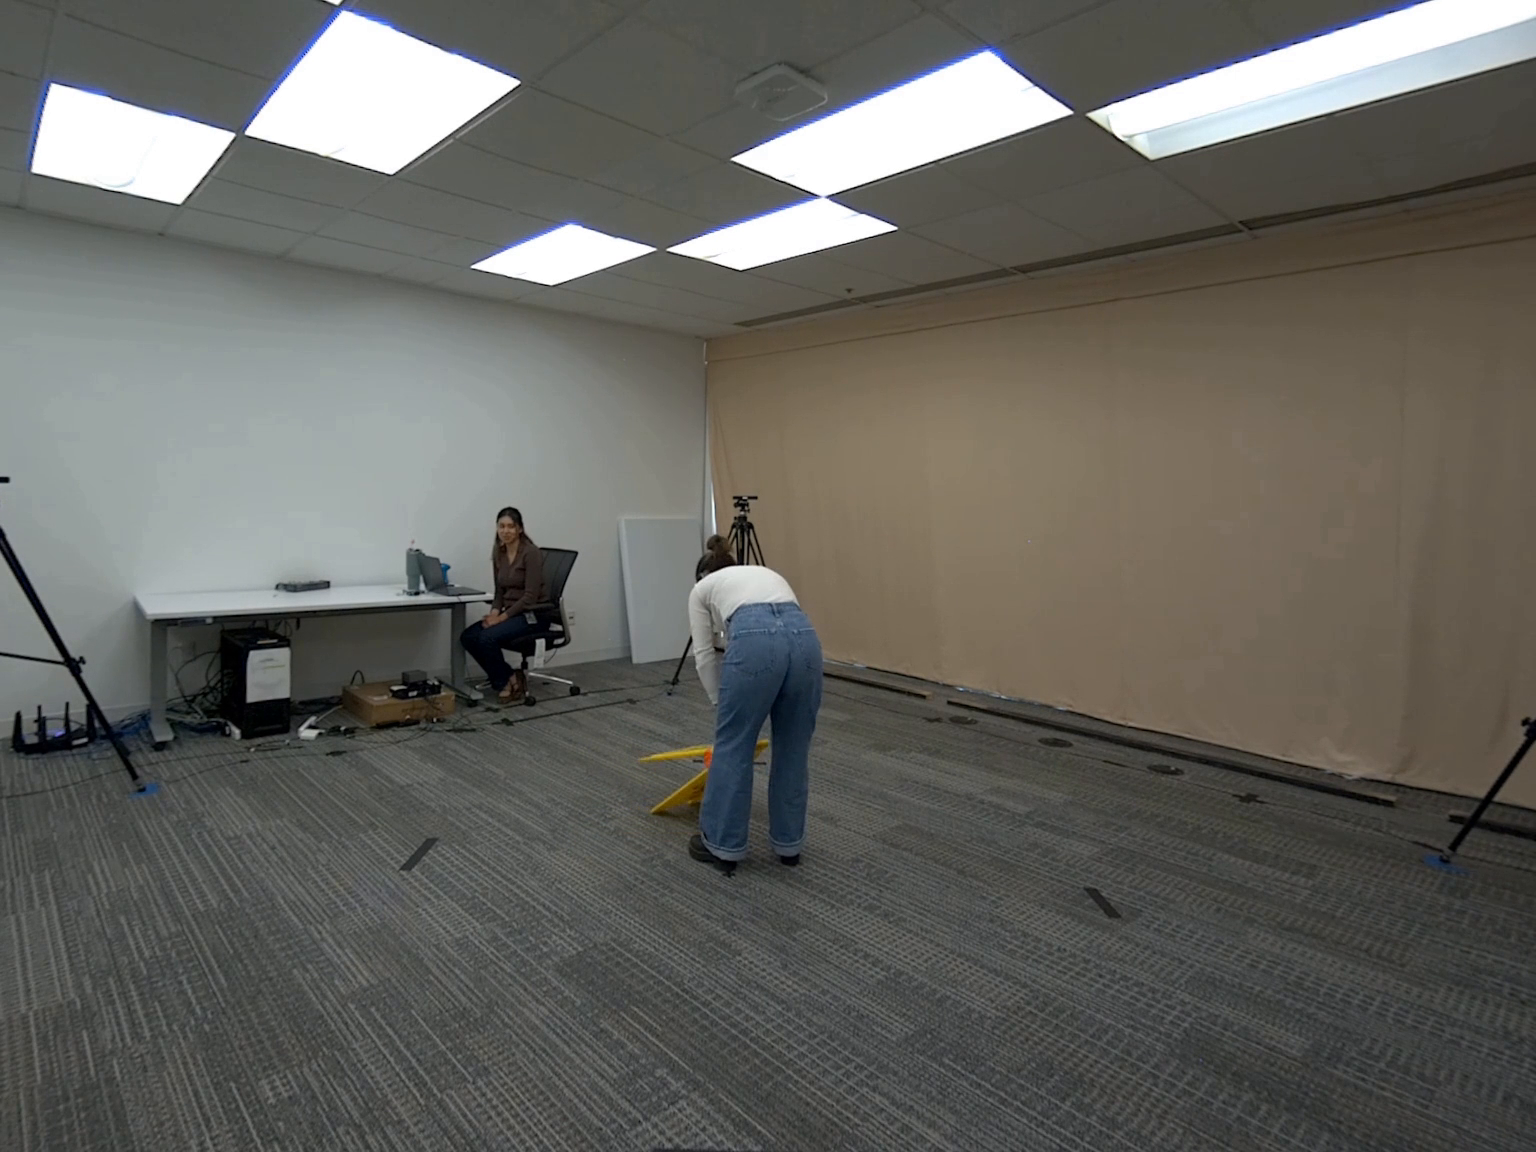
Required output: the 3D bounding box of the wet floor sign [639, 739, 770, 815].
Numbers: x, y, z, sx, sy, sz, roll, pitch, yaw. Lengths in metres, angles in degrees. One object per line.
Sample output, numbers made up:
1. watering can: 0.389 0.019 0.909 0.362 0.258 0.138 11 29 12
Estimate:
1. wet floor sign: -0.261 0.812 3.574 0.276 0.294 0.650 -2 -21 -39
